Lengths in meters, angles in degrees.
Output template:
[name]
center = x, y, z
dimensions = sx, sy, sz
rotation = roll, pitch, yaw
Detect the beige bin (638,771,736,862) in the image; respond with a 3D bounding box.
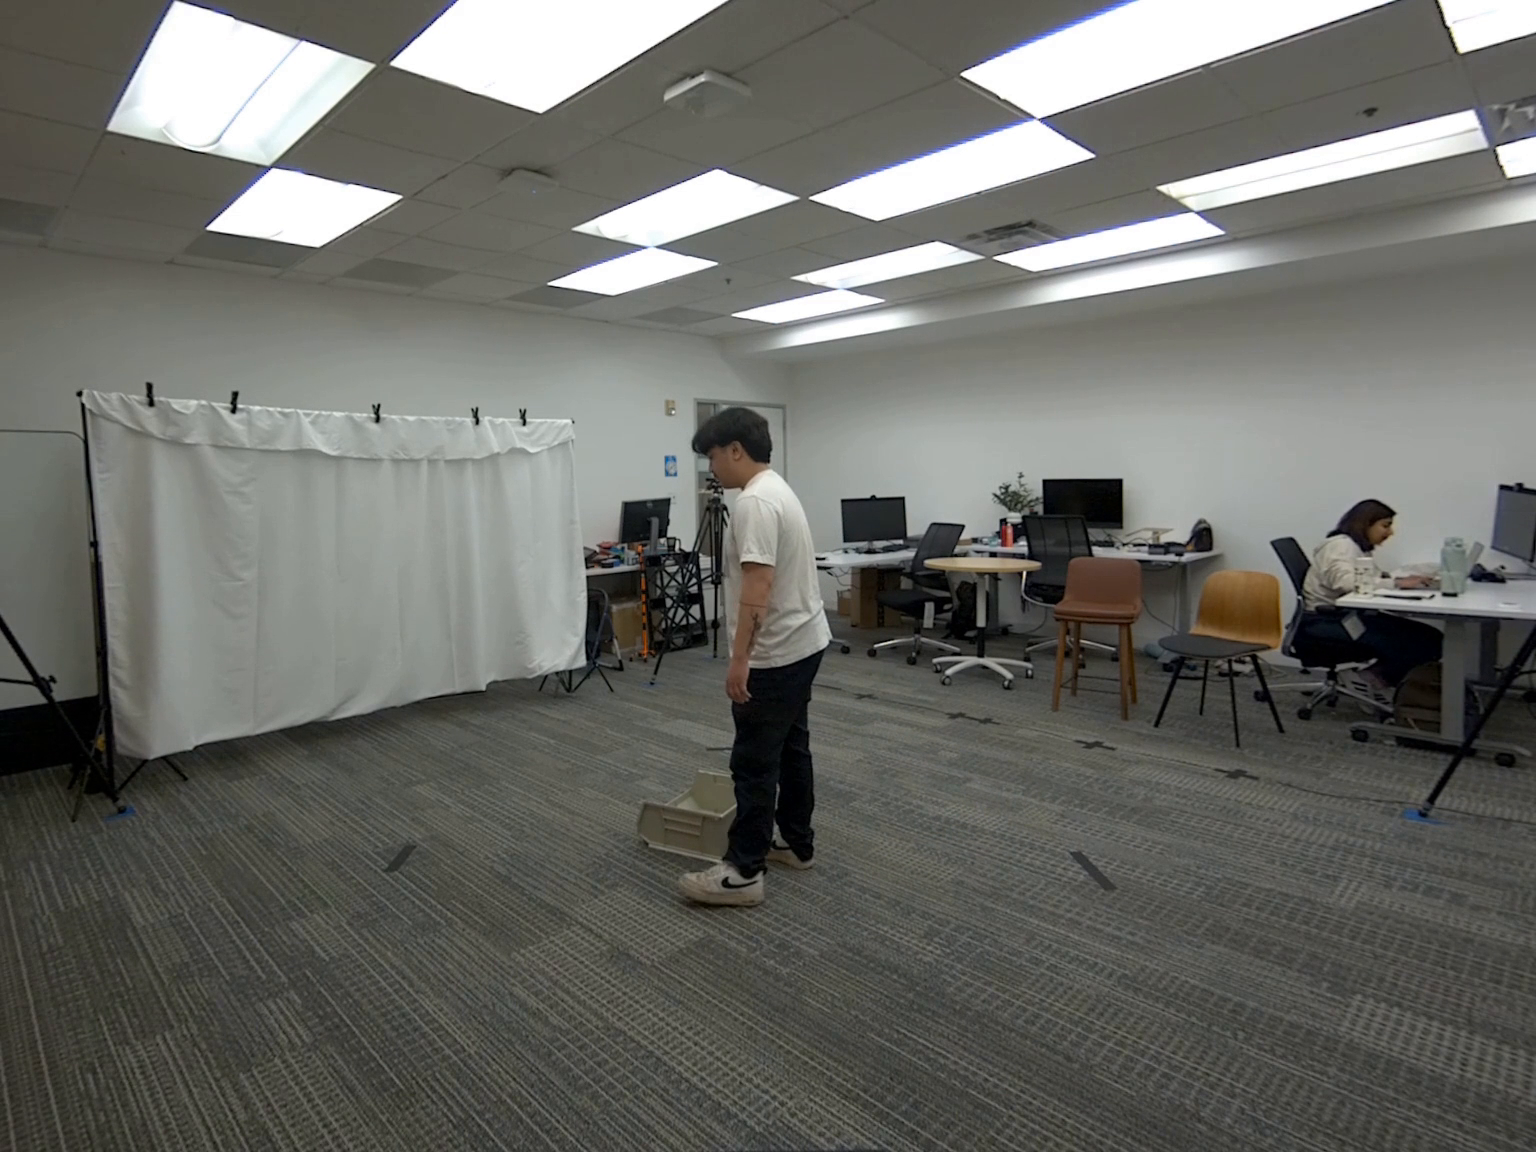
[beige bin]
center = -0.243, 0.928, 3.358
dimensions = 0.387, 0.188, 0.414
rotation = 3, 6, 26
